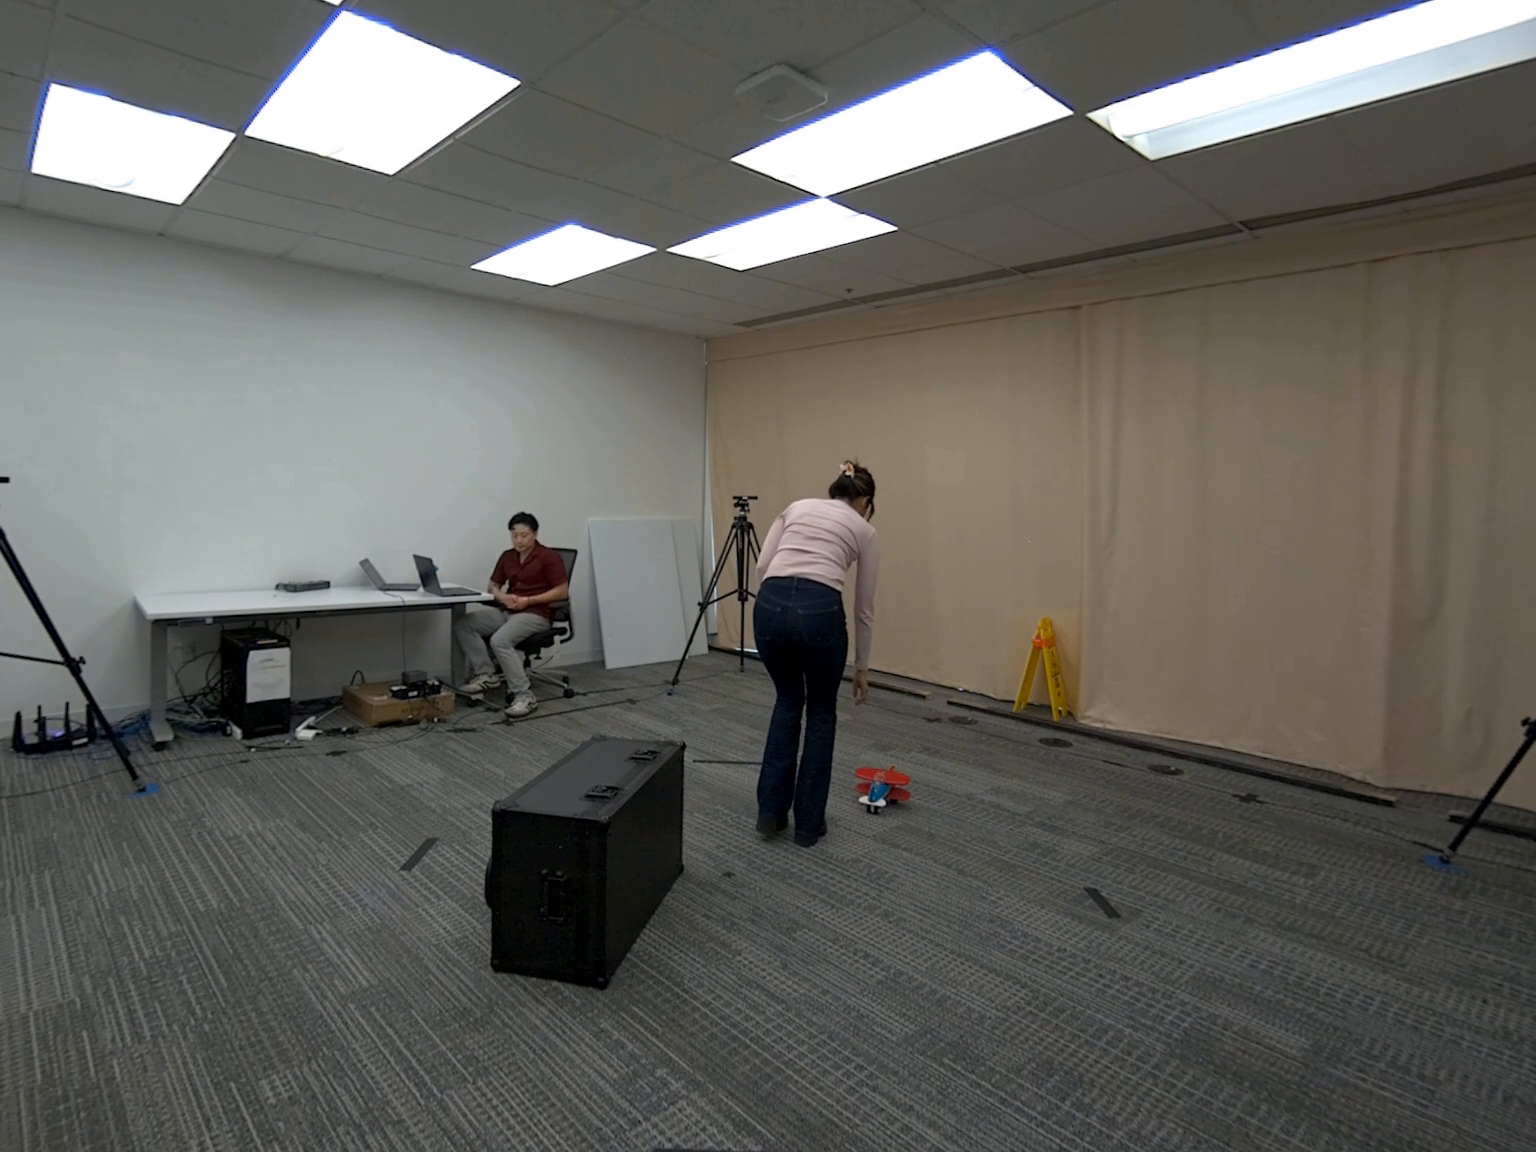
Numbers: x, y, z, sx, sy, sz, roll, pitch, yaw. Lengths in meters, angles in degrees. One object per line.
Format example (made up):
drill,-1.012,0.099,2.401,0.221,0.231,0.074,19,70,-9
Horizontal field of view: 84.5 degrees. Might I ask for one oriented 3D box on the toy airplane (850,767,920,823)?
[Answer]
toy airplane,0.524,0.987,3.838,0.251,0.156,0.260,2,4,-3
